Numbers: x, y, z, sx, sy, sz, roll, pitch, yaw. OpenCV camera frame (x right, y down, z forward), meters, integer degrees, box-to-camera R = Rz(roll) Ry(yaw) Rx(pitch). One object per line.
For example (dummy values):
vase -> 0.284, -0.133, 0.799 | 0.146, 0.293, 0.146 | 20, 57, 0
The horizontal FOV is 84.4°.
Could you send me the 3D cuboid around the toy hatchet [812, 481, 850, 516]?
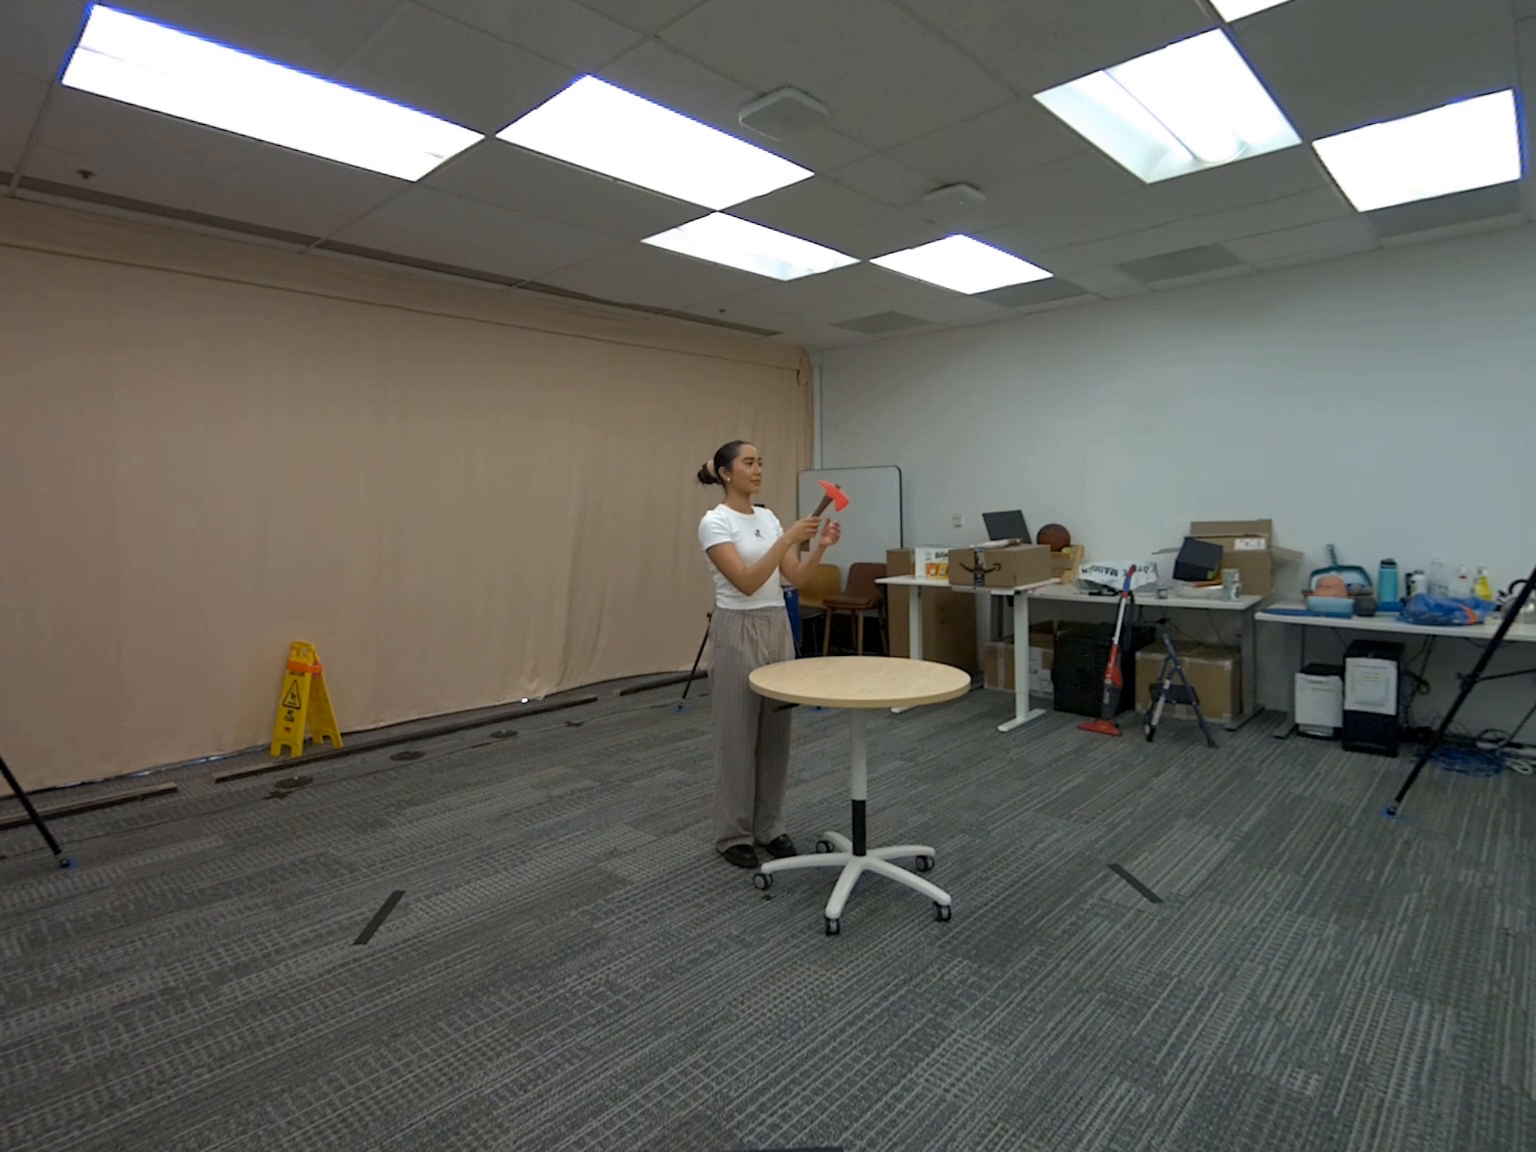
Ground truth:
toy hatchet -> 0.214, -0.207, 3.070 | 0.133, 0.269, 0.029 | 18, 10, 11
